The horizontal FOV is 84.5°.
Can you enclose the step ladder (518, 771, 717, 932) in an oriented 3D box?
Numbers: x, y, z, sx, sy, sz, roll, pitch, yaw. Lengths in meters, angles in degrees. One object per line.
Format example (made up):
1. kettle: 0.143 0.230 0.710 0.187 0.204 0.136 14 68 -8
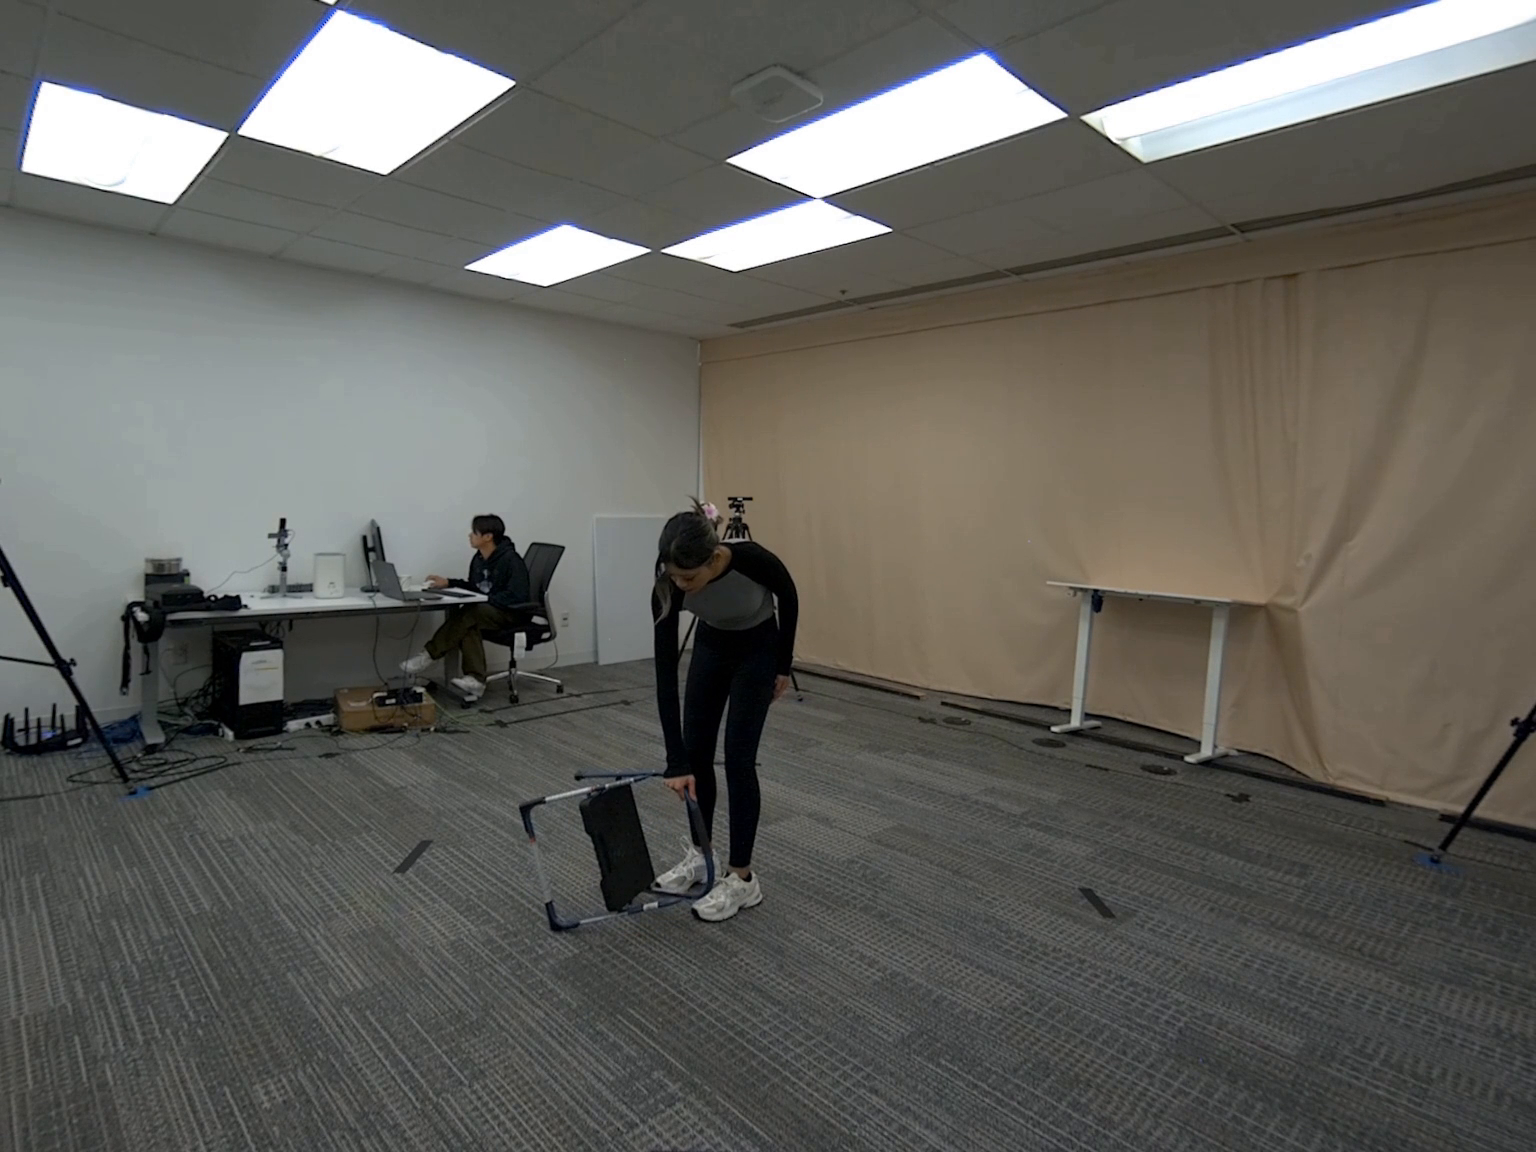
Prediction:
1. step ladder: -0.429 0.842 2.715 0.614 0.432 0.344 -17 -2 26
